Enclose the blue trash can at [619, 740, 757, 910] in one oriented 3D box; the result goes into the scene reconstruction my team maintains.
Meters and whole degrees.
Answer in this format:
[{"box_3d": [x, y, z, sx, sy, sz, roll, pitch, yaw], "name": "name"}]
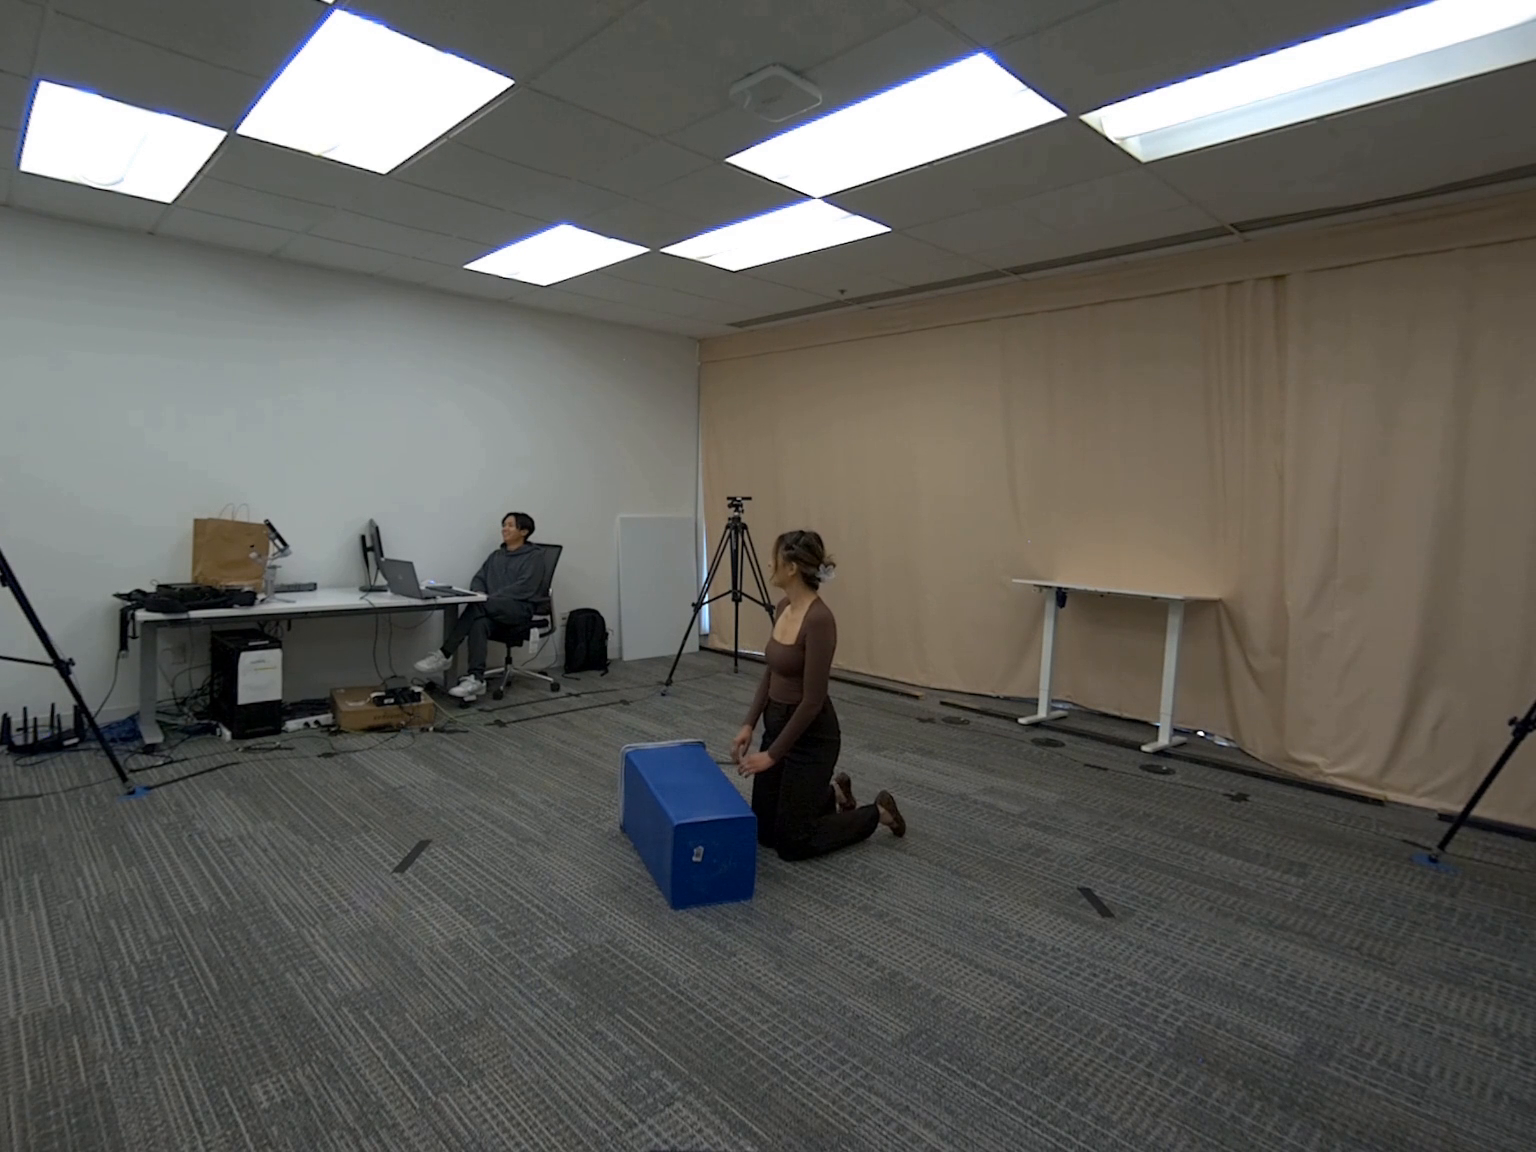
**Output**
[{"box_3d": [-0.323, 0.920, 3.196, 0.368, 0.376, 0.727, 1, 7, -20], "name": "blue trash can"}]
